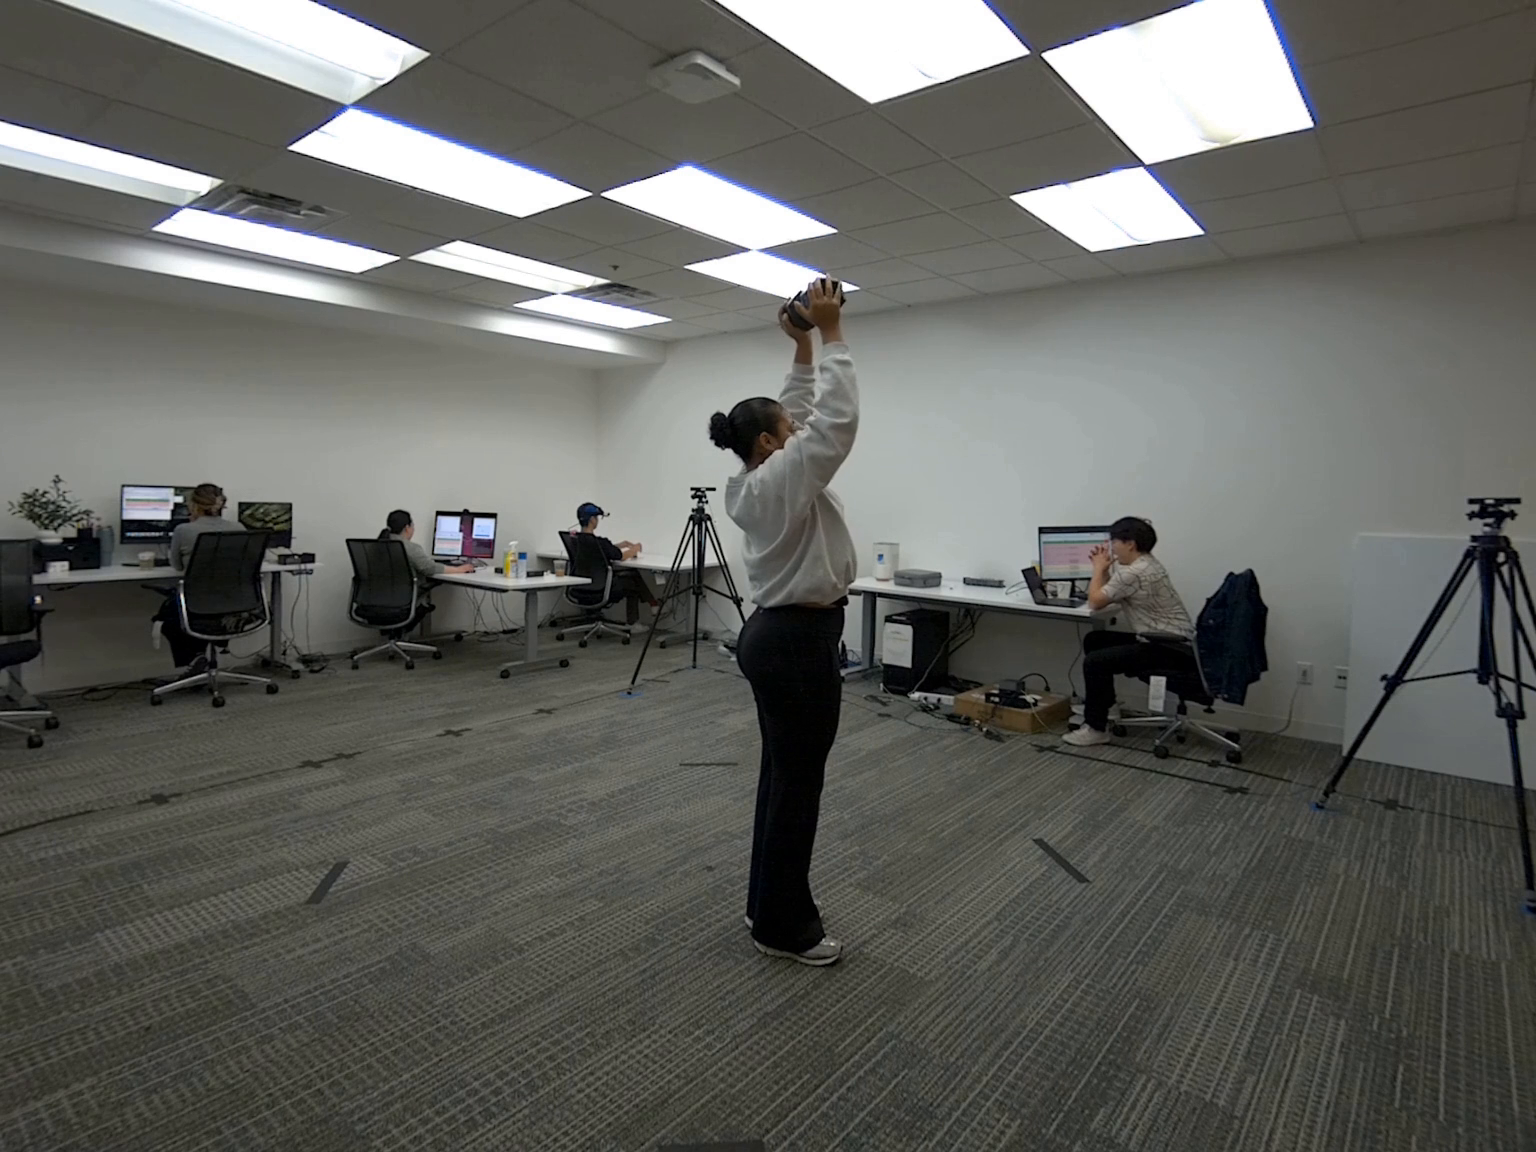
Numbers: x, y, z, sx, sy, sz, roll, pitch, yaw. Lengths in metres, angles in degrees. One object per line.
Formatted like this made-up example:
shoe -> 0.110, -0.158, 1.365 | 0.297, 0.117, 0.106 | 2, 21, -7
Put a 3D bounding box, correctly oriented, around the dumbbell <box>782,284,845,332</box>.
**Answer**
dumbbell -> 0.127, -0.803, 2.528 | 0.107, 0.123, 0.297 | 43, 0, -10
